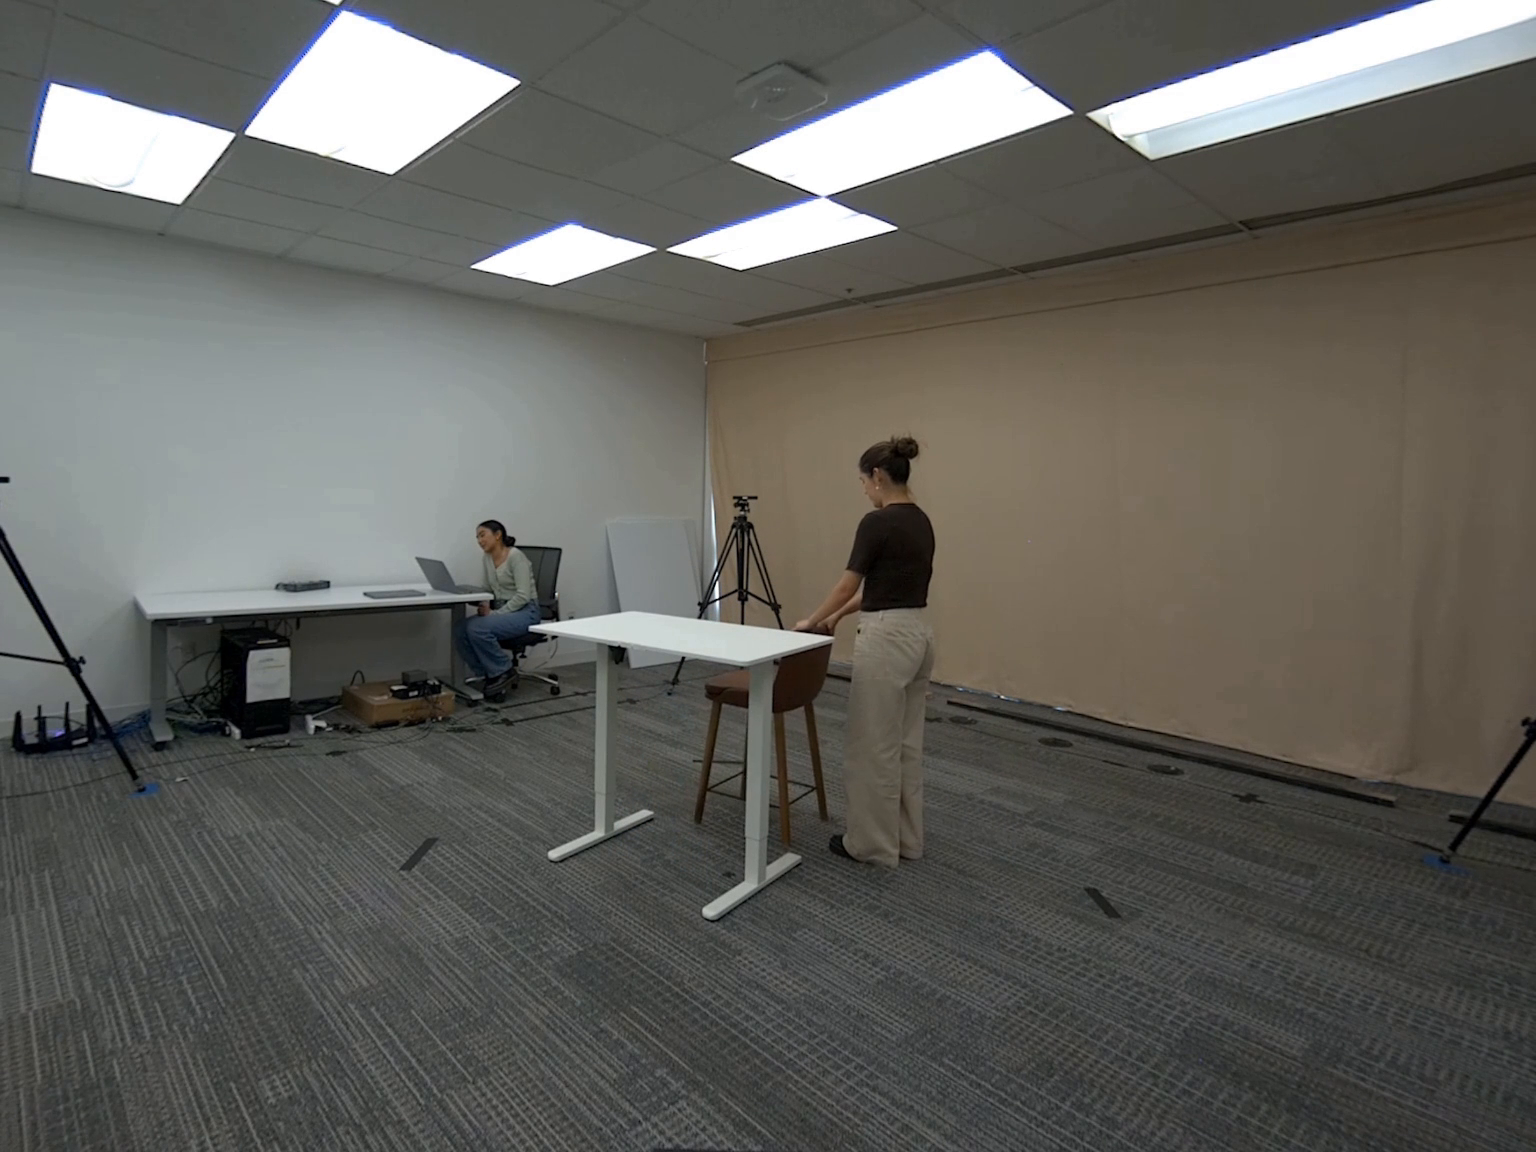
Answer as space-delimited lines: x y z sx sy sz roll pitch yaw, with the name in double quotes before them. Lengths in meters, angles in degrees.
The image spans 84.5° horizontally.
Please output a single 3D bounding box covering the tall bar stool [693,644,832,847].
"tall bar stool" -0.011 0.627 3.621 0.478 0.887 0.447 6 6 31
